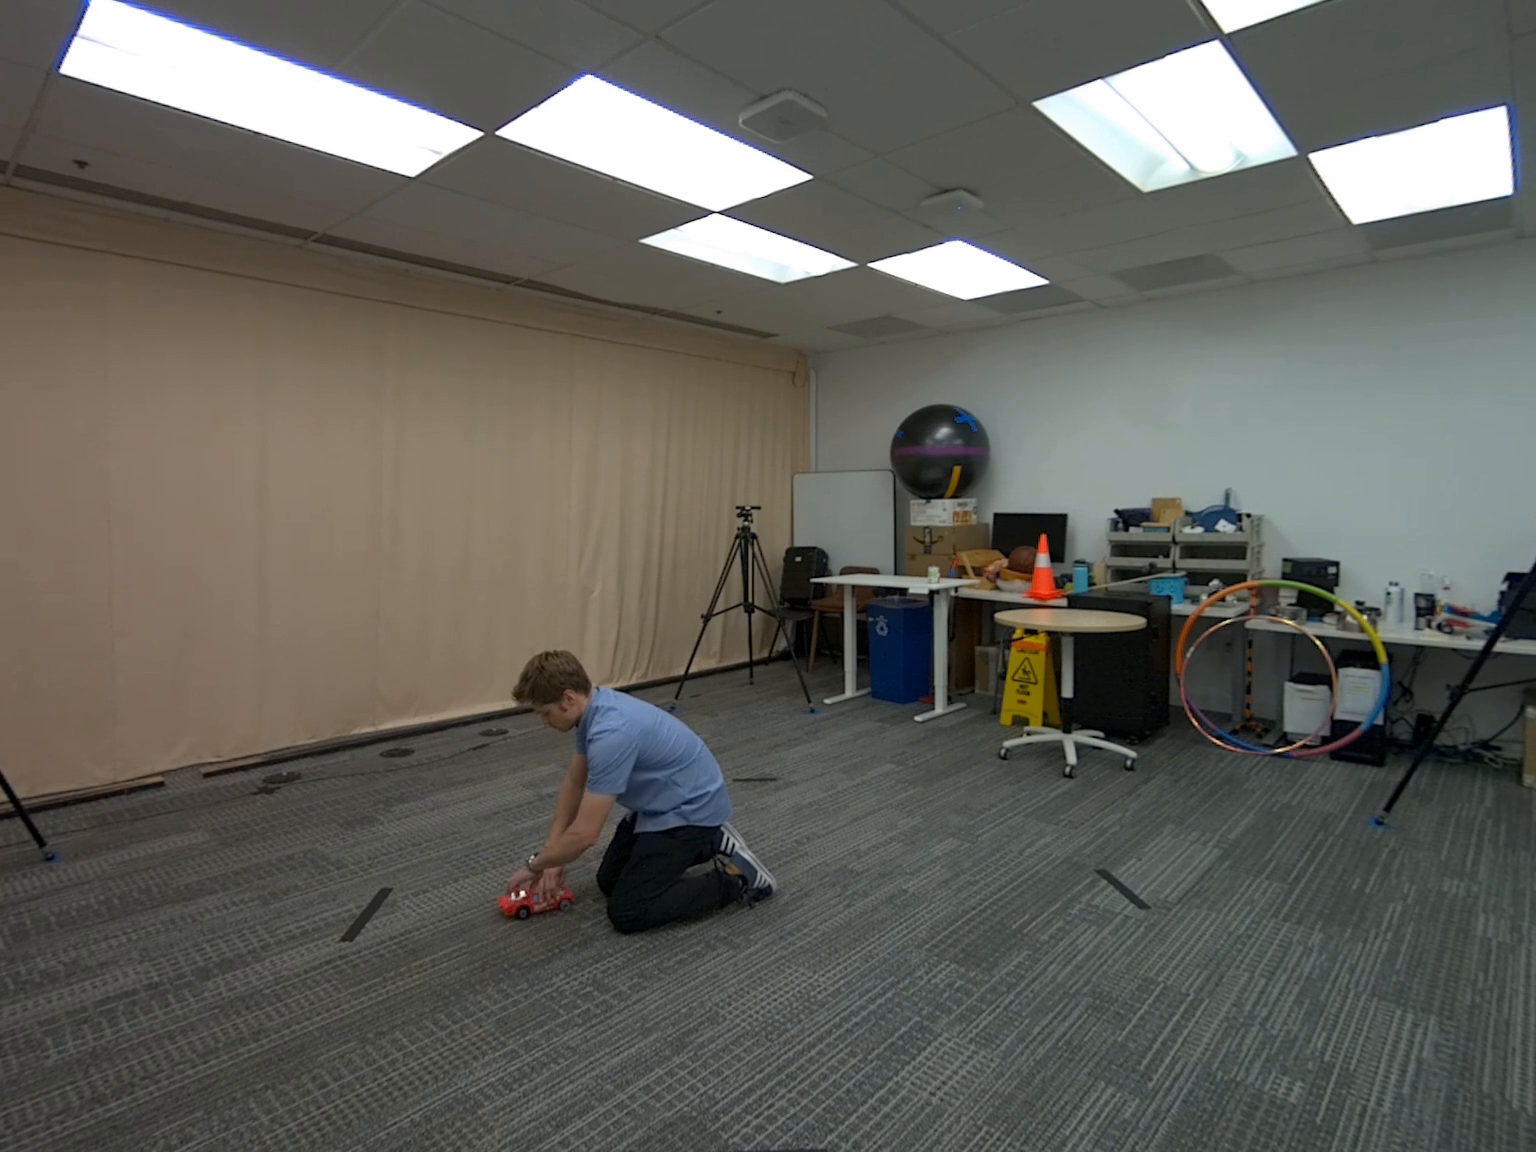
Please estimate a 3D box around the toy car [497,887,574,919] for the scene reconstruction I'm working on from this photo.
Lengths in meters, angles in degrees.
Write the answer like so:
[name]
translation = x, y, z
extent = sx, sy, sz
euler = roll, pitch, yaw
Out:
[toy car]
translation = -0.814, 1.129, 2.918
extent = 0.248, 0.083, 0.133
euler = 10, -2, -23
